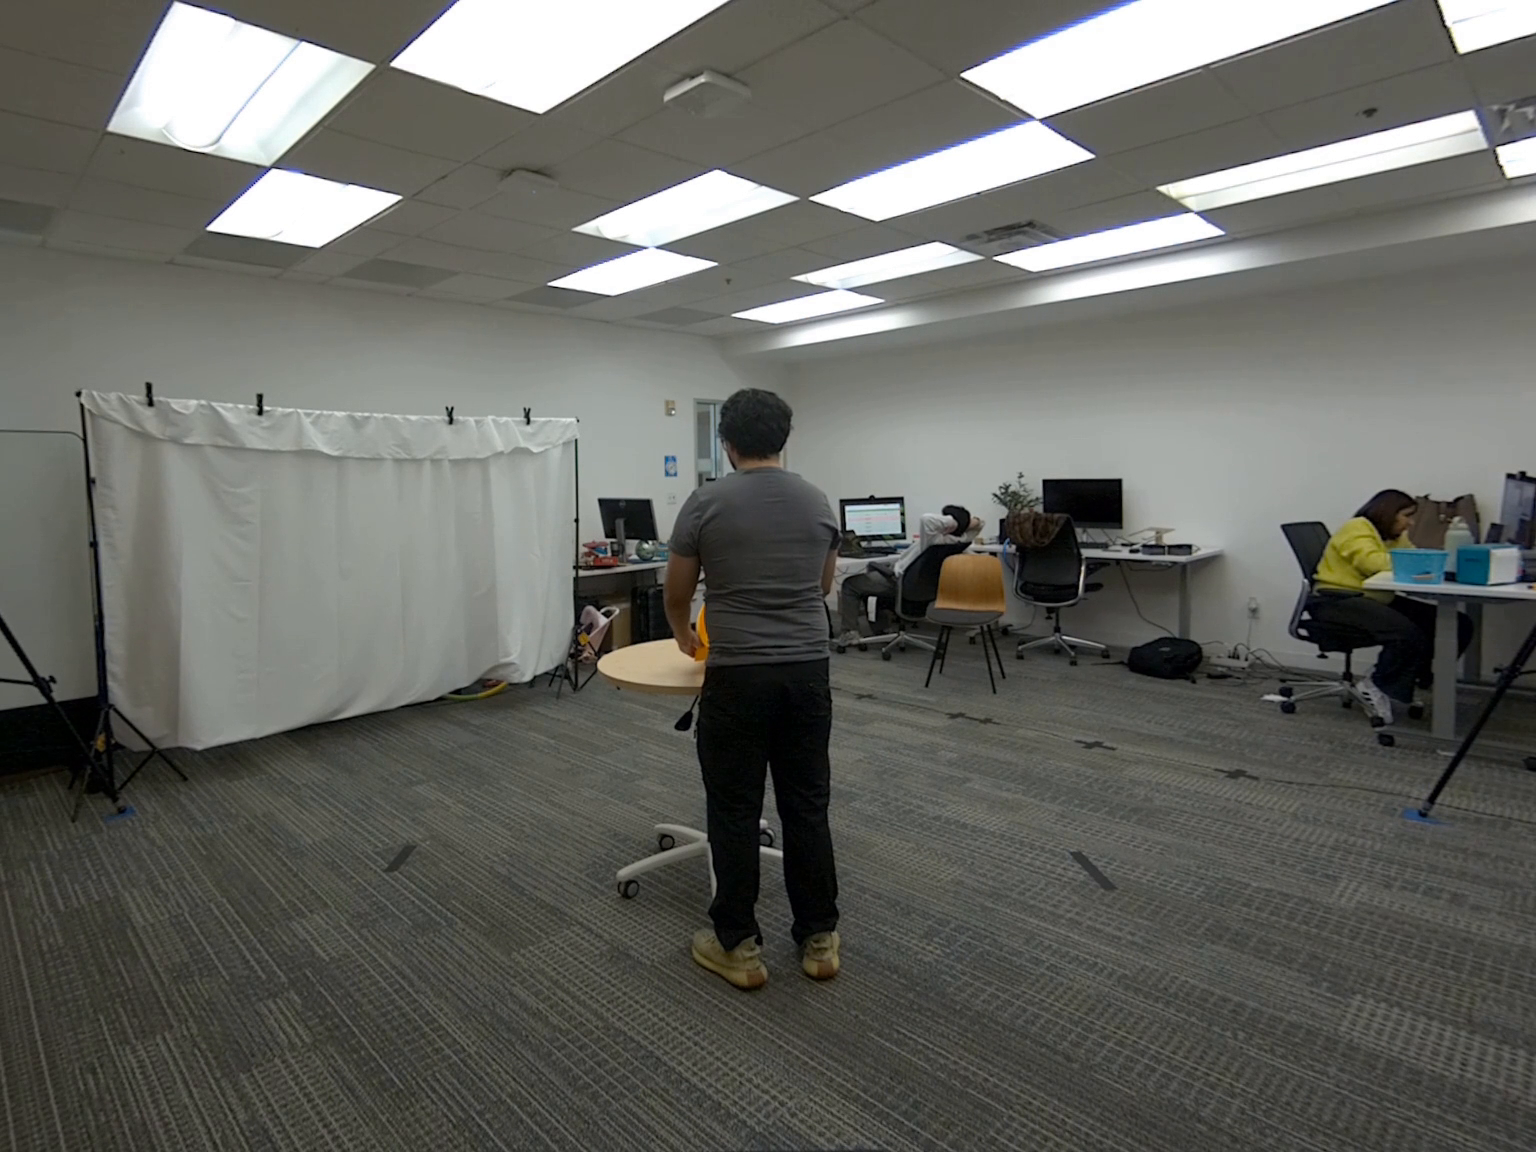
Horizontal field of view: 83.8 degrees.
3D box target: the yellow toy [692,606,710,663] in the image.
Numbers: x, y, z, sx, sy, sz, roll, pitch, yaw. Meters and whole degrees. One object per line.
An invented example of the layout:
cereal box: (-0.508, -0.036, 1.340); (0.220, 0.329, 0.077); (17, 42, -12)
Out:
yellow toy: (-0.164, 0.188, 2.826); (0.201, 0.195, 0.232); (-4, -11, -21)
